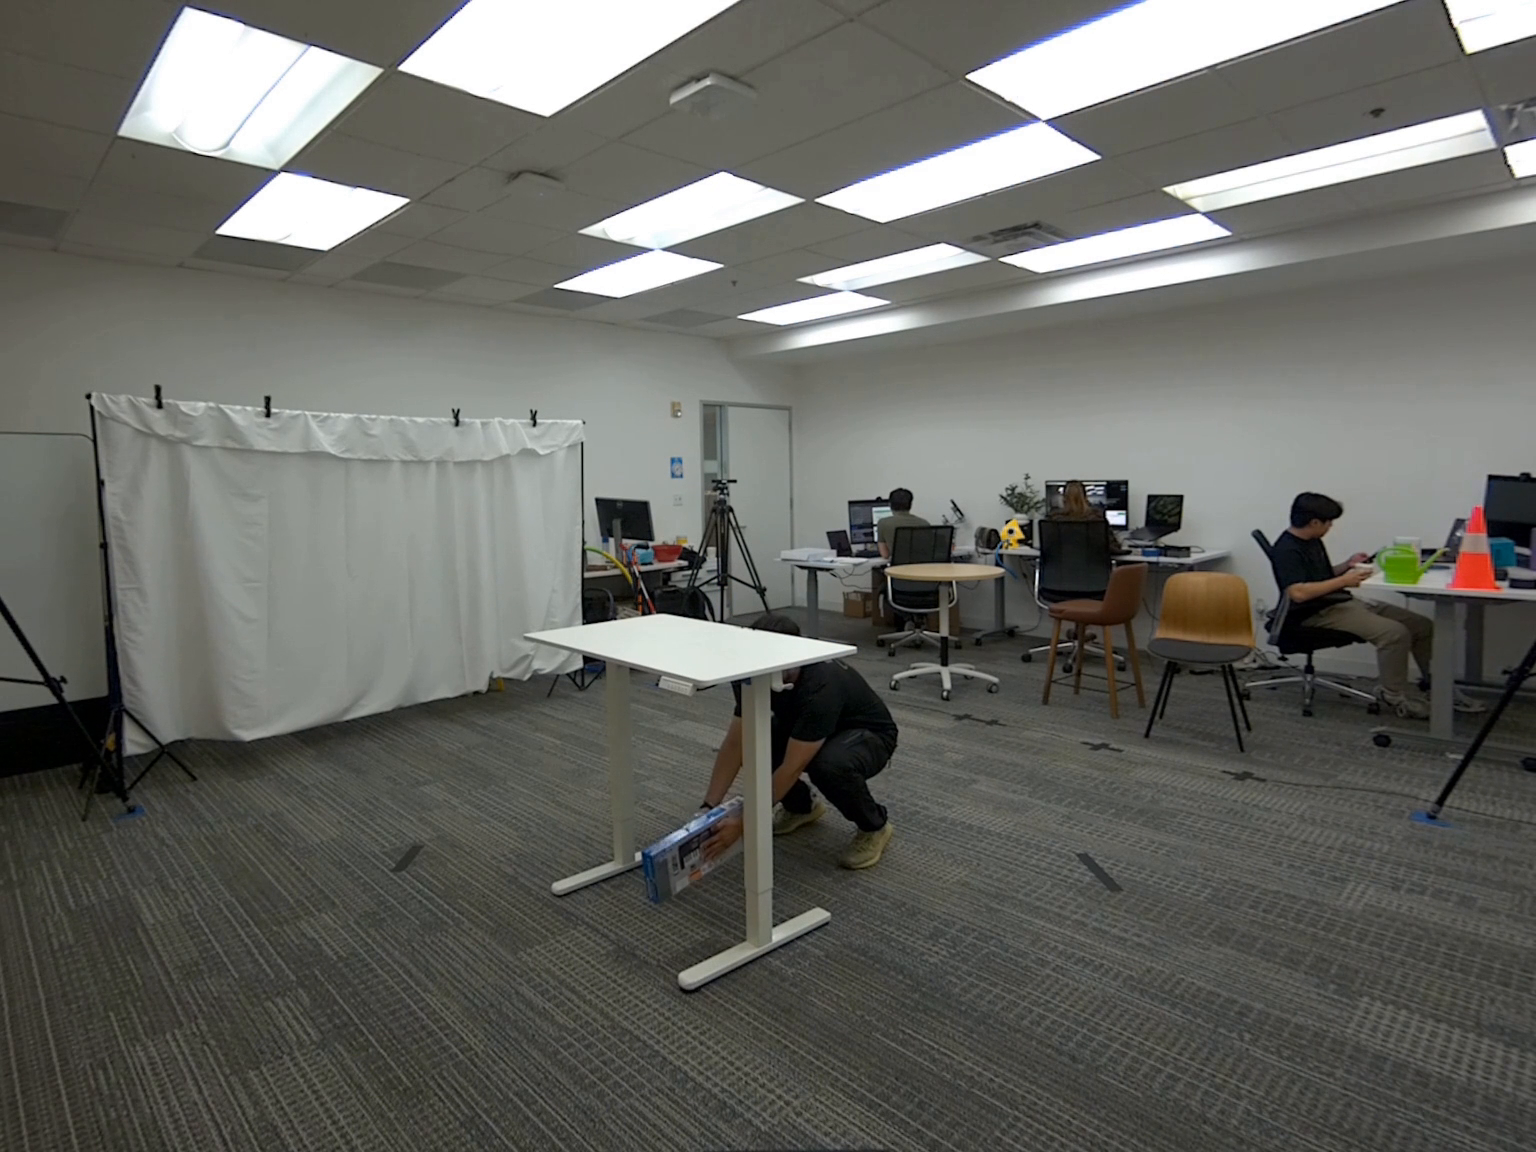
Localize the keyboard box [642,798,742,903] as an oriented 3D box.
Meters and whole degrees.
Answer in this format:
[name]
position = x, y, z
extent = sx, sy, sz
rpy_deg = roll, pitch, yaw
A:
[keyboard box]
position = -0.232, 0.908, 2.838
extent = 0.061, 0.174, 0.429
rpy_deg = 4, 17, 43
